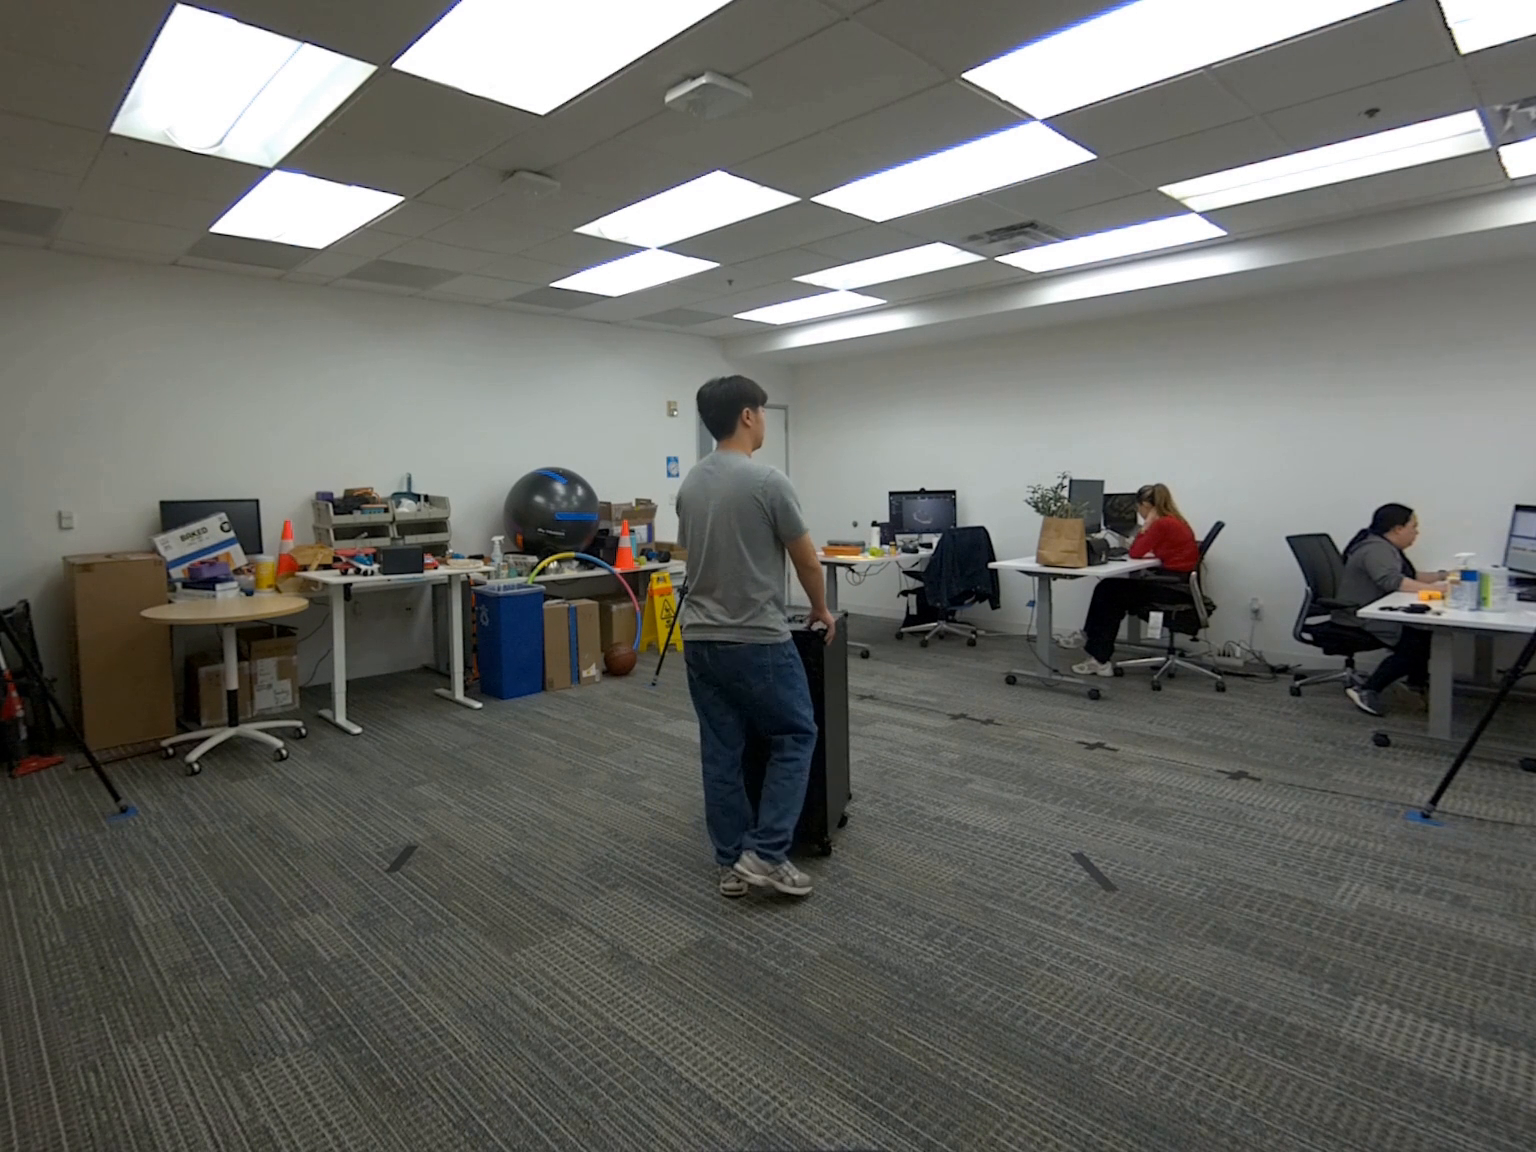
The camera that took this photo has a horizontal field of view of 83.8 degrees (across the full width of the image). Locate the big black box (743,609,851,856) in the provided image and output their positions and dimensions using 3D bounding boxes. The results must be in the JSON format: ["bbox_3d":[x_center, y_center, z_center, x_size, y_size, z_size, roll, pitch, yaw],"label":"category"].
[{"bbox_3d":[0.095,0.595,3.337,0.403,0.859,0.515,-1,4,17],"label":"big black box"}]
